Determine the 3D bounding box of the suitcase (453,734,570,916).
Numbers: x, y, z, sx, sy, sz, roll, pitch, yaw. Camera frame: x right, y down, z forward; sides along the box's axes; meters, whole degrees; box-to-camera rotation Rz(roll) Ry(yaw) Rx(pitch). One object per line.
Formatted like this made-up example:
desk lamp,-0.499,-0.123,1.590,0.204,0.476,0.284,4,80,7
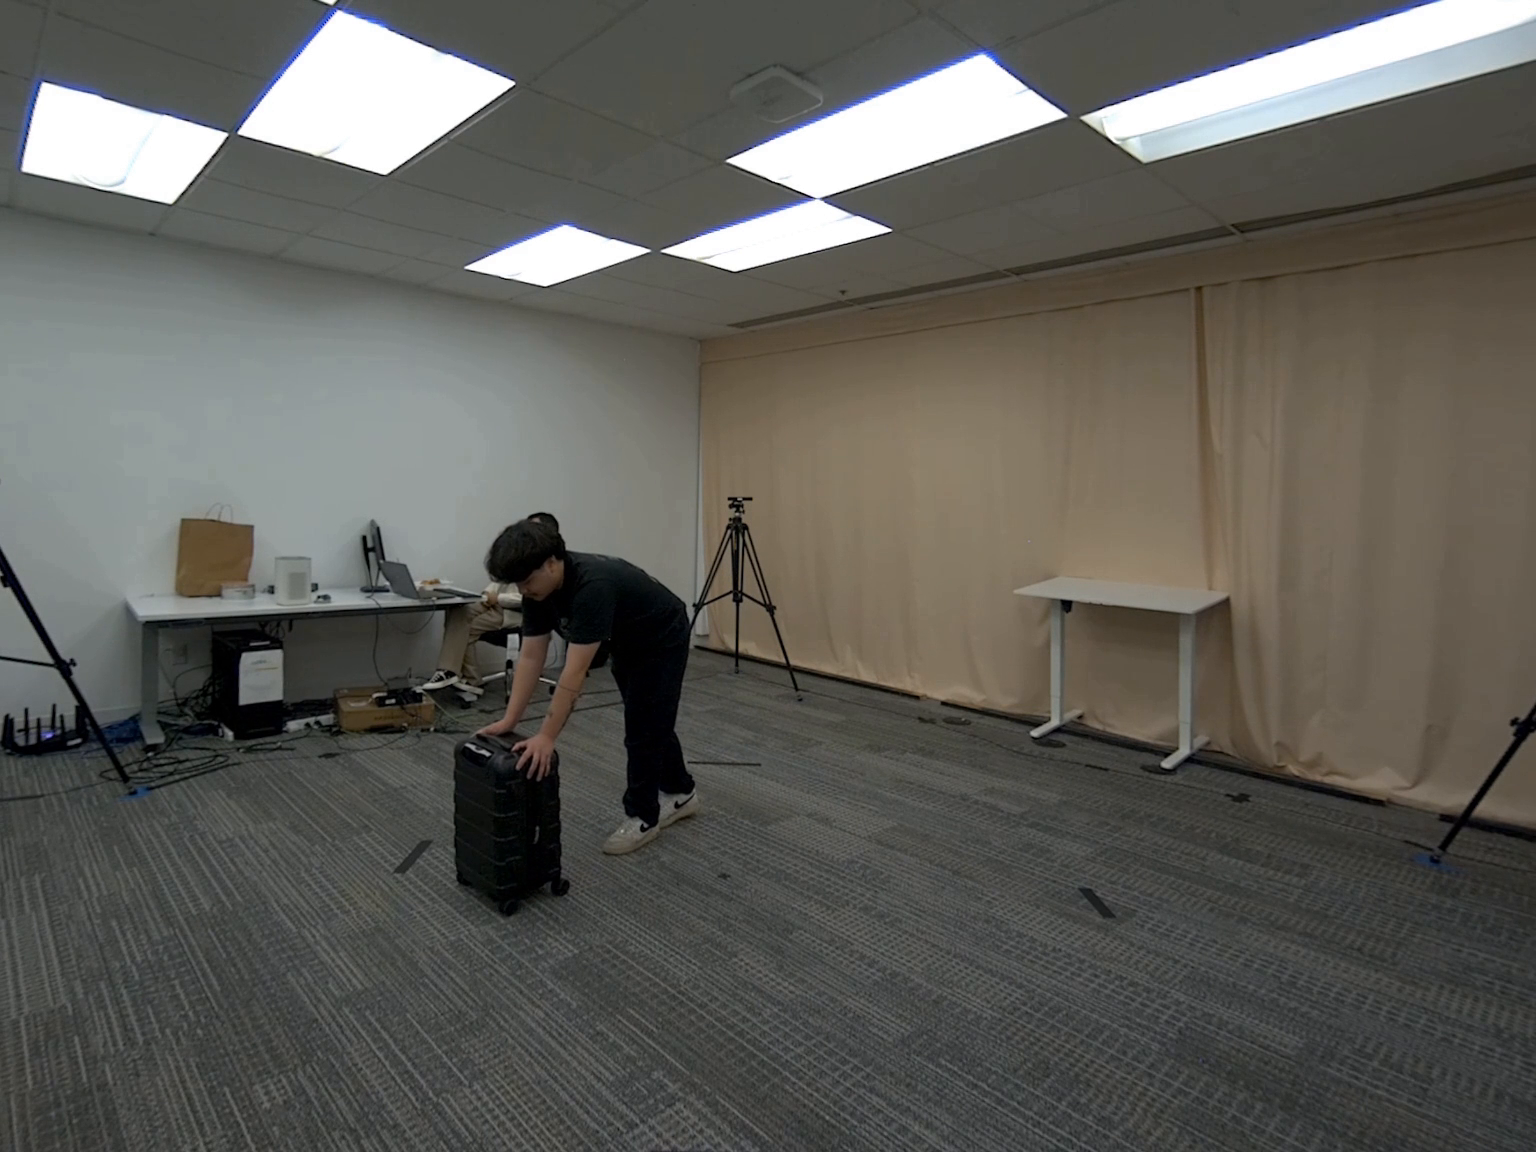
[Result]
suitcase,-0.919,0.835,2.936,0.385,0.547,0.243,6,8,45
